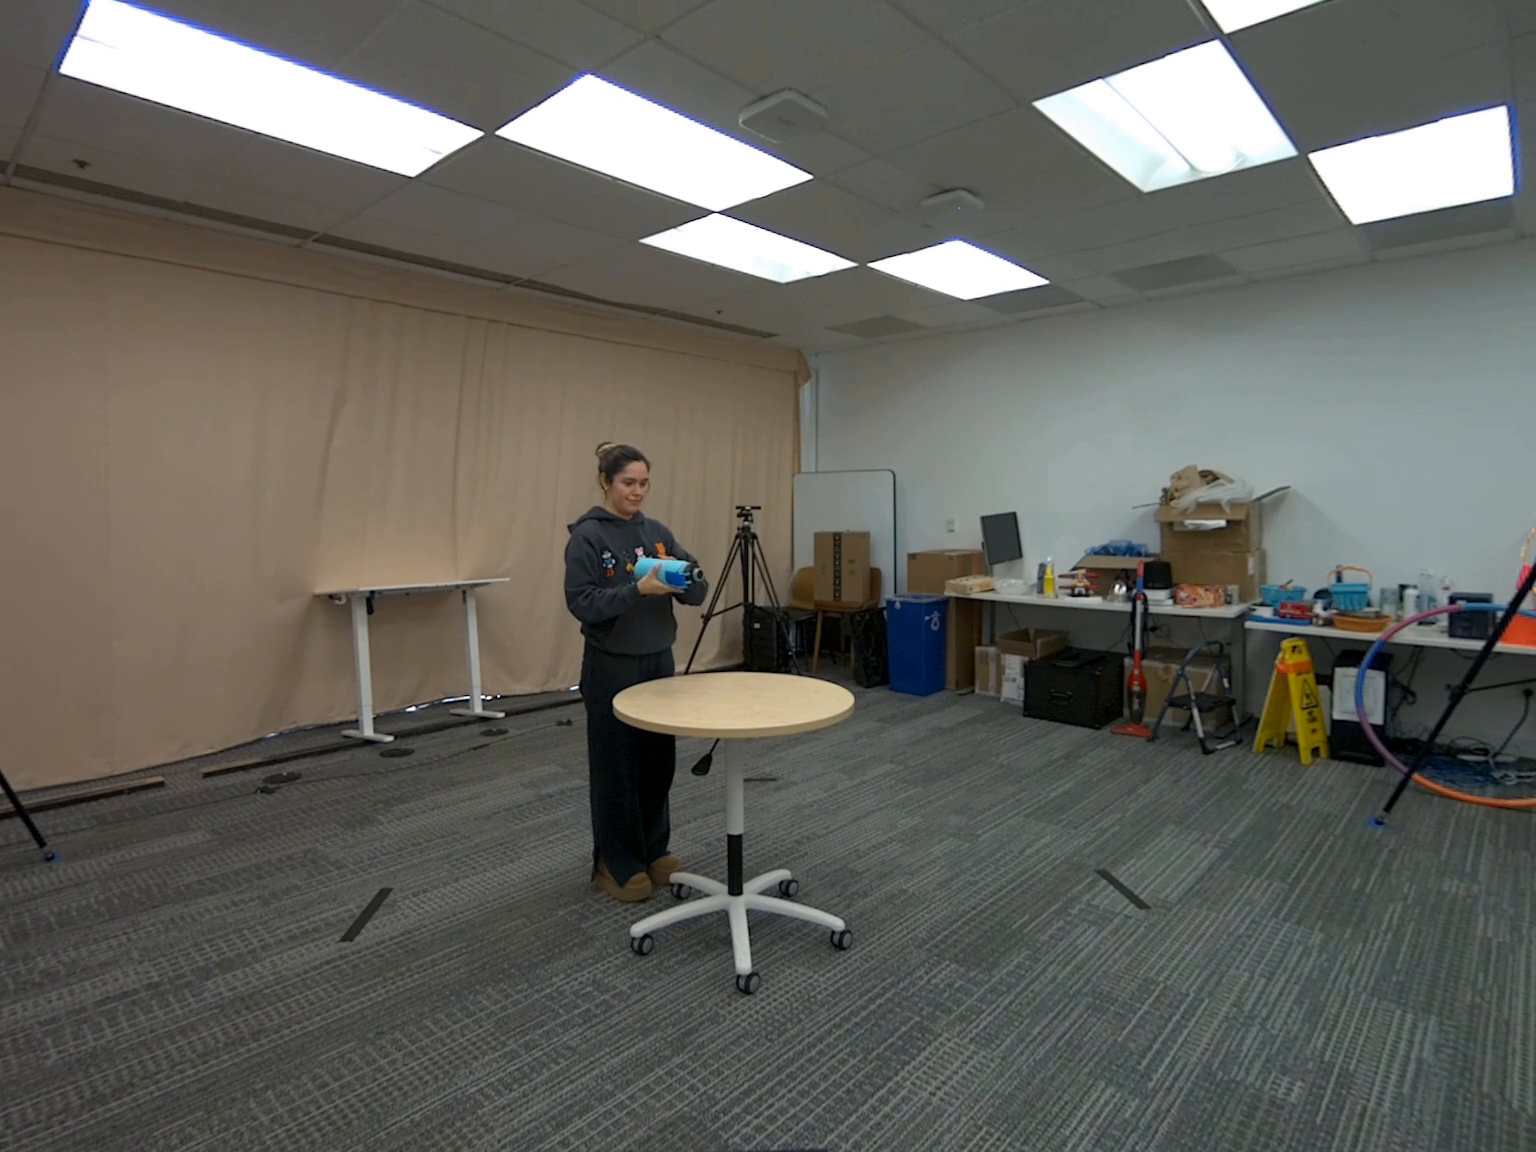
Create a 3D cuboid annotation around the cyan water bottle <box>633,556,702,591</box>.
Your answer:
[{"bbox_3d":[-0.326,-0.011,2.802,0.089,0.092,0.293,-3,5,-39],"label":"cyan water bottle"}]
